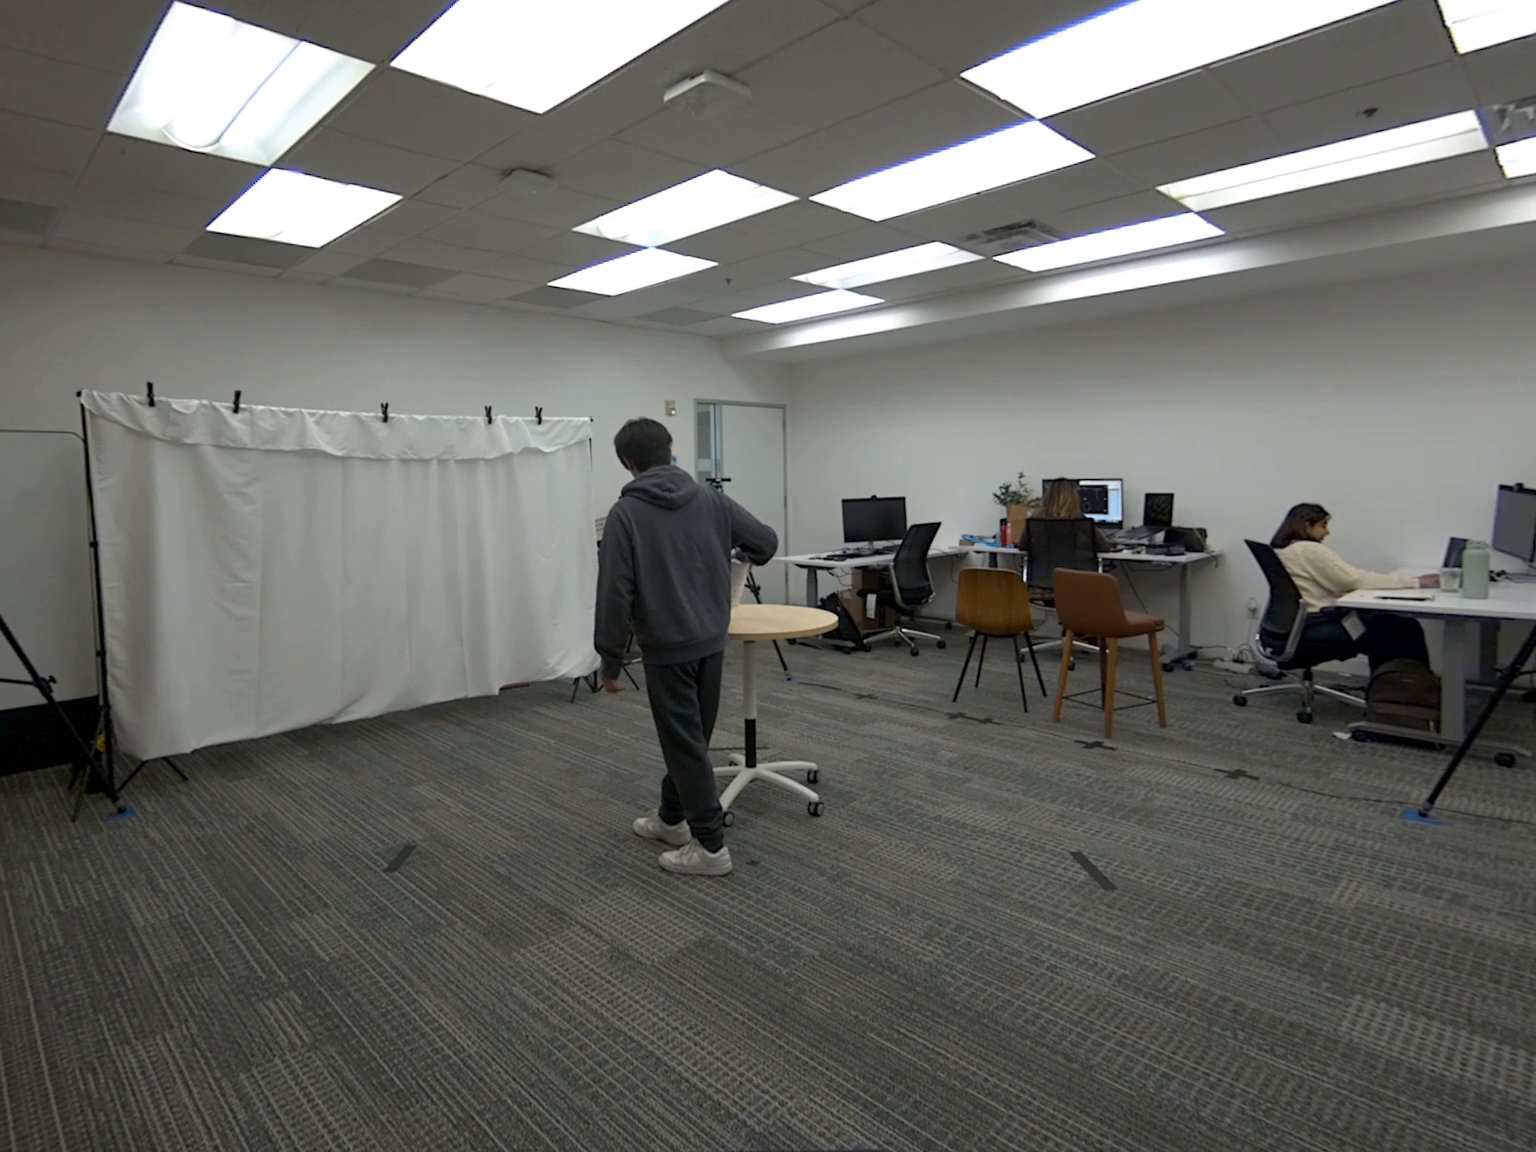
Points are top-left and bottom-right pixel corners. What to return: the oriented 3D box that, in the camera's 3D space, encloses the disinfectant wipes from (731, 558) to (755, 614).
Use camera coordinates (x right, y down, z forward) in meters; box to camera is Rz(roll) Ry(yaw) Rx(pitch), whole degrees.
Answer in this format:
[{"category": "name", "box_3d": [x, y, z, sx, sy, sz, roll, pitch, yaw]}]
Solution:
[{"category": "disinfectant wipes", "box_3d": [-0.139, 0.021, 3.576, 0.117, 0.214, 0.120, 10, 24, -6]}]
